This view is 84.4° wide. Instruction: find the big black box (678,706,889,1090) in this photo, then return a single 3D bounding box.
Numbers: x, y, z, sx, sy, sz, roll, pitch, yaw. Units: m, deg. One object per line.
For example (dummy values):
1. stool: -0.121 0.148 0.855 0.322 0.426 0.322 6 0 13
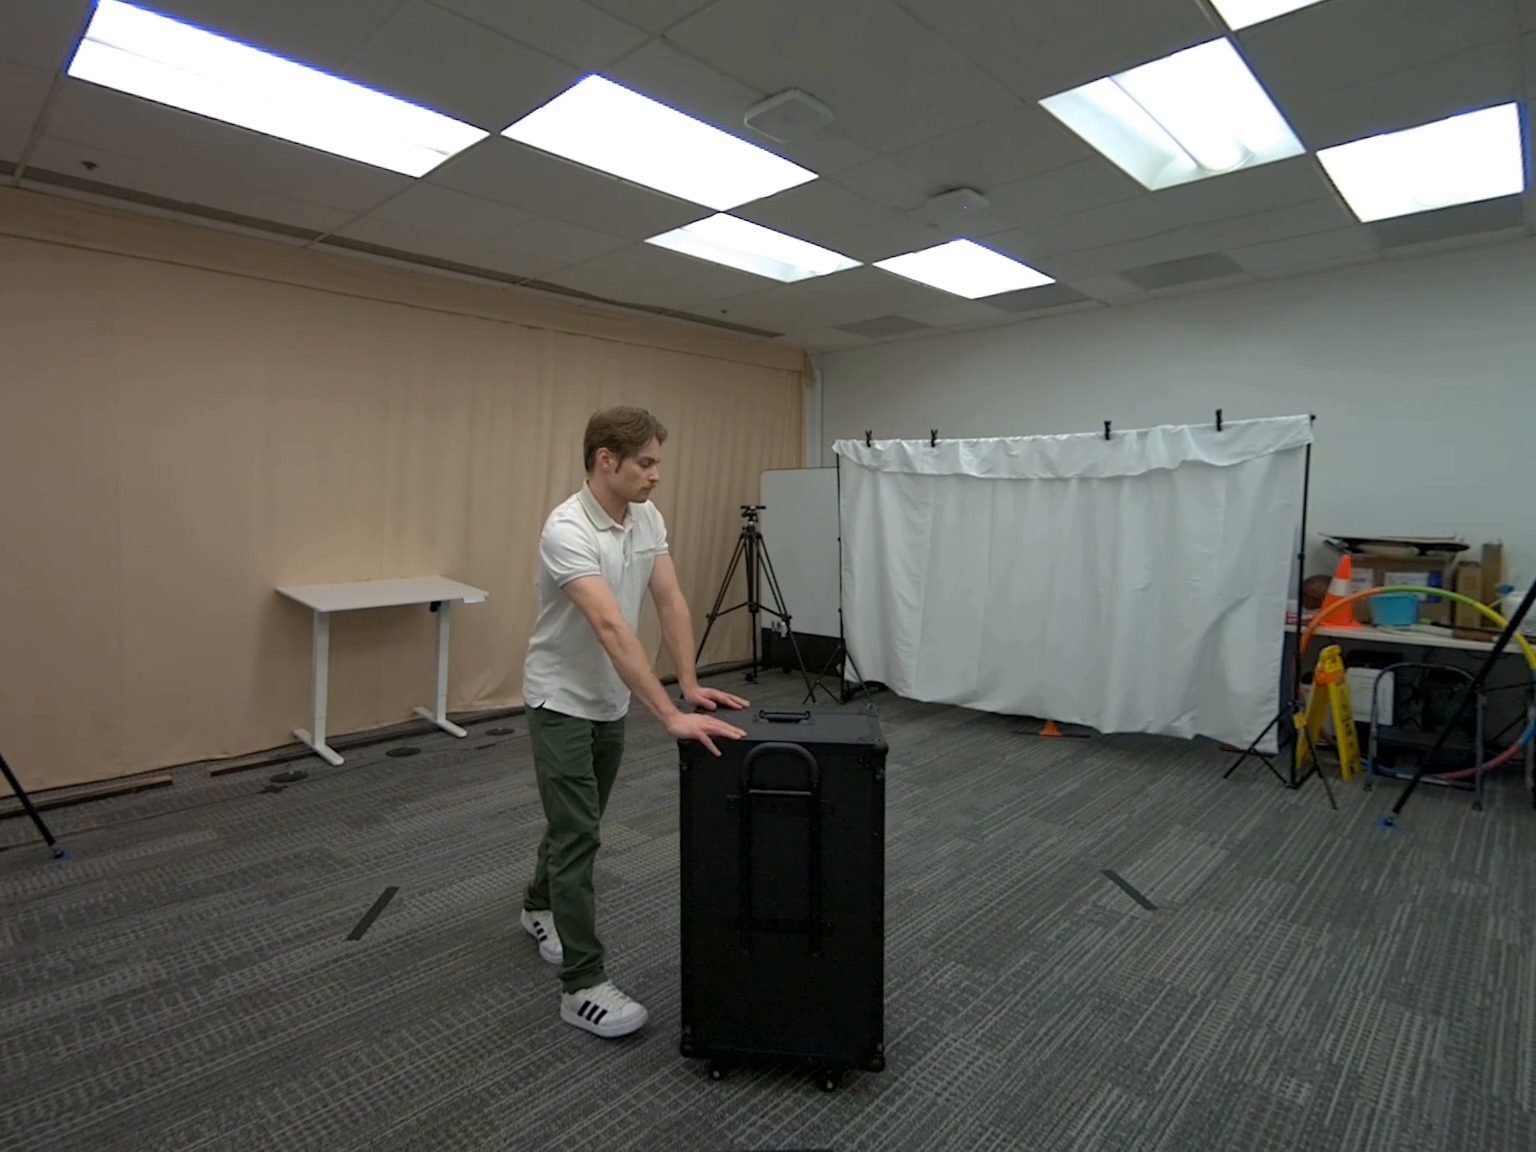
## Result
1. big black box: 0.050 0.792 2.136 0.527 0.867 0.383 0 2 5
